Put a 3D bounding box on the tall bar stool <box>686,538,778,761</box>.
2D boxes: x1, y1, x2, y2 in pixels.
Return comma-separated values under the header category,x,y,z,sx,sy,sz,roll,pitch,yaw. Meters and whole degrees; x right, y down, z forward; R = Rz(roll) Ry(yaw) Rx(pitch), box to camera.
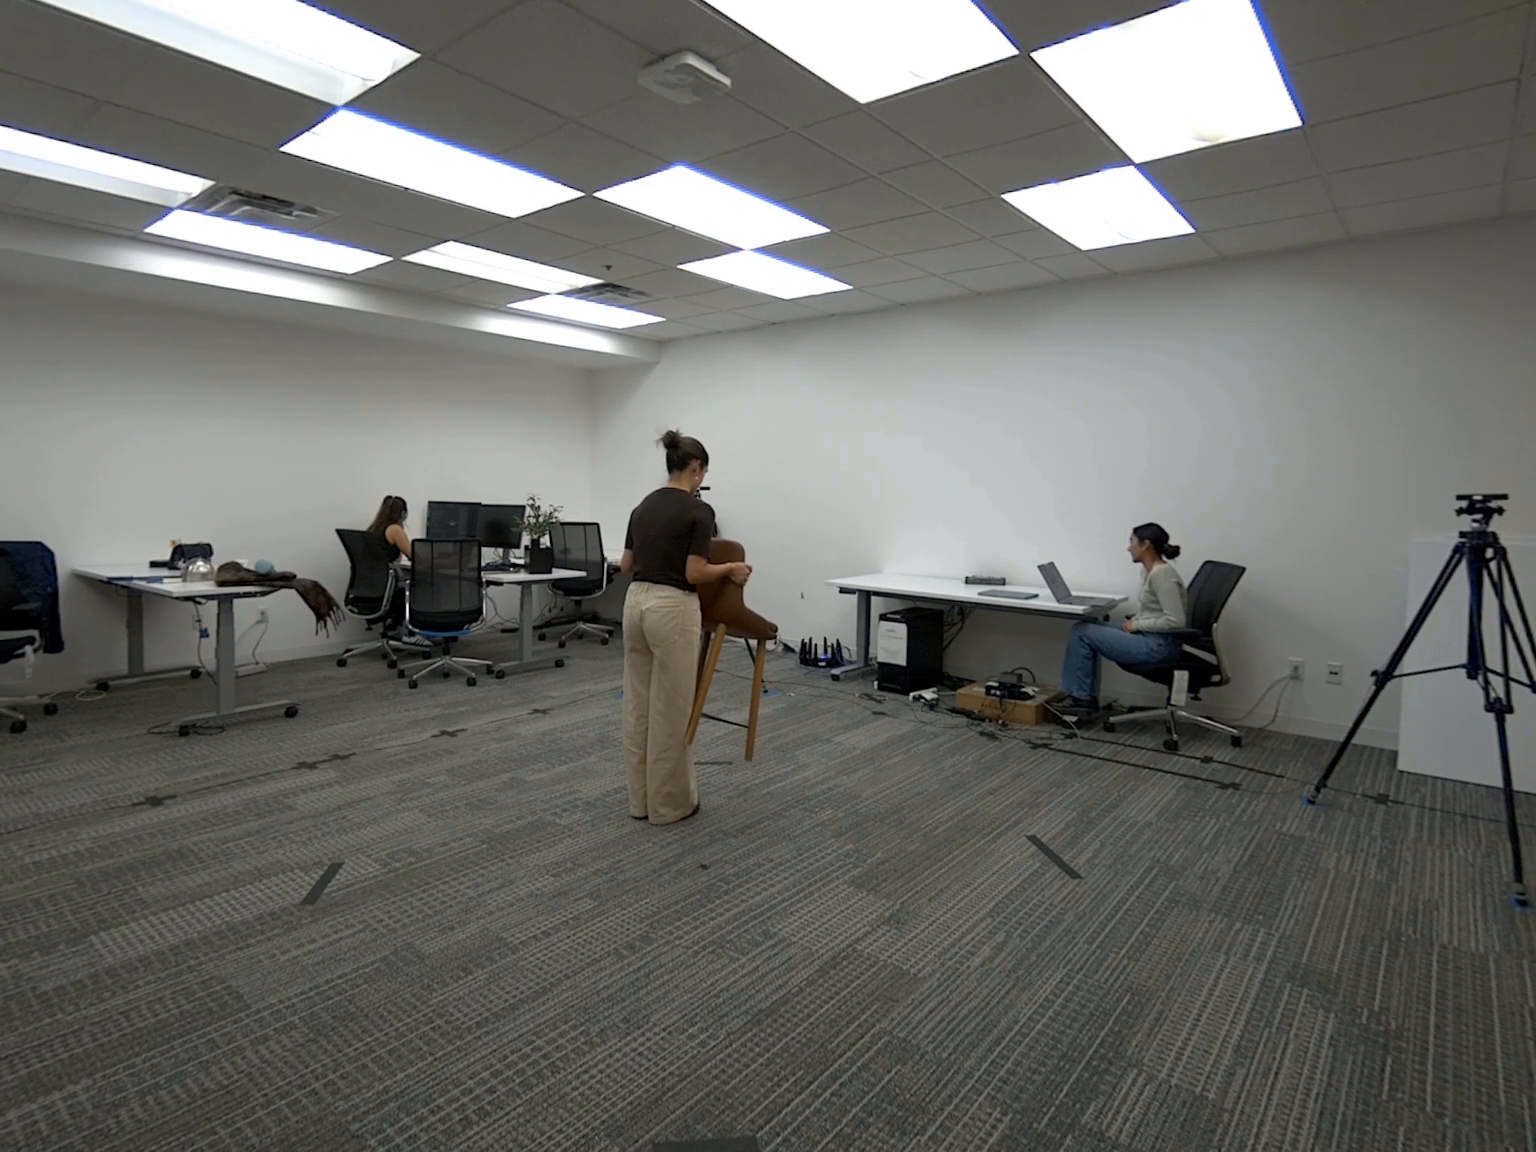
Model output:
category,x,y,z,sx,sy,sz,roll,pitch,yaw
tall bar stool,-0.267,0.317,3.807,0.471,0.897,0.449,2,-15,37
